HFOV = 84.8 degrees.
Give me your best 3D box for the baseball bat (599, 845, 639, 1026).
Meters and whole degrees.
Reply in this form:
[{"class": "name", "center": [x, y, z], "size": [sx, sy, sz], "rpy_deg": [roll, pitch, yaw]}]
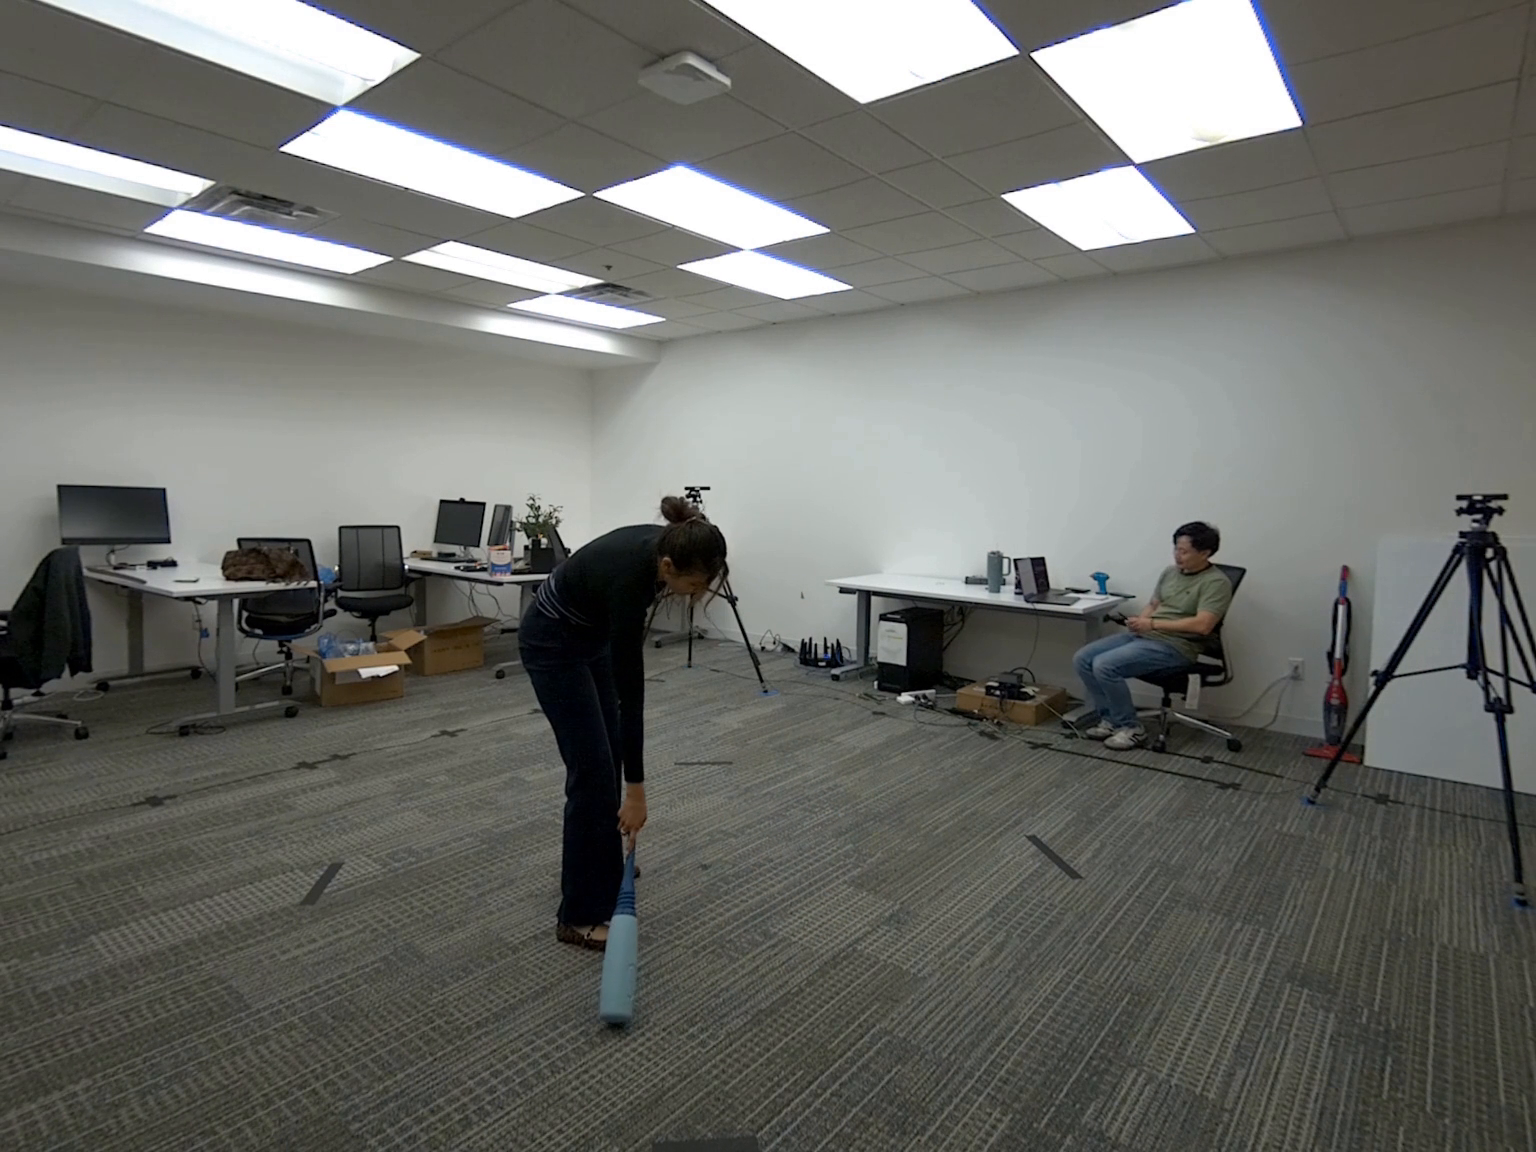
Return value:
[{"class": "baseball bat", "center": [-0.398, 0.927, 2.352], "size": [0.089, 0.558, 0.086], "rpy_deg": [0, -40, -2]}]
